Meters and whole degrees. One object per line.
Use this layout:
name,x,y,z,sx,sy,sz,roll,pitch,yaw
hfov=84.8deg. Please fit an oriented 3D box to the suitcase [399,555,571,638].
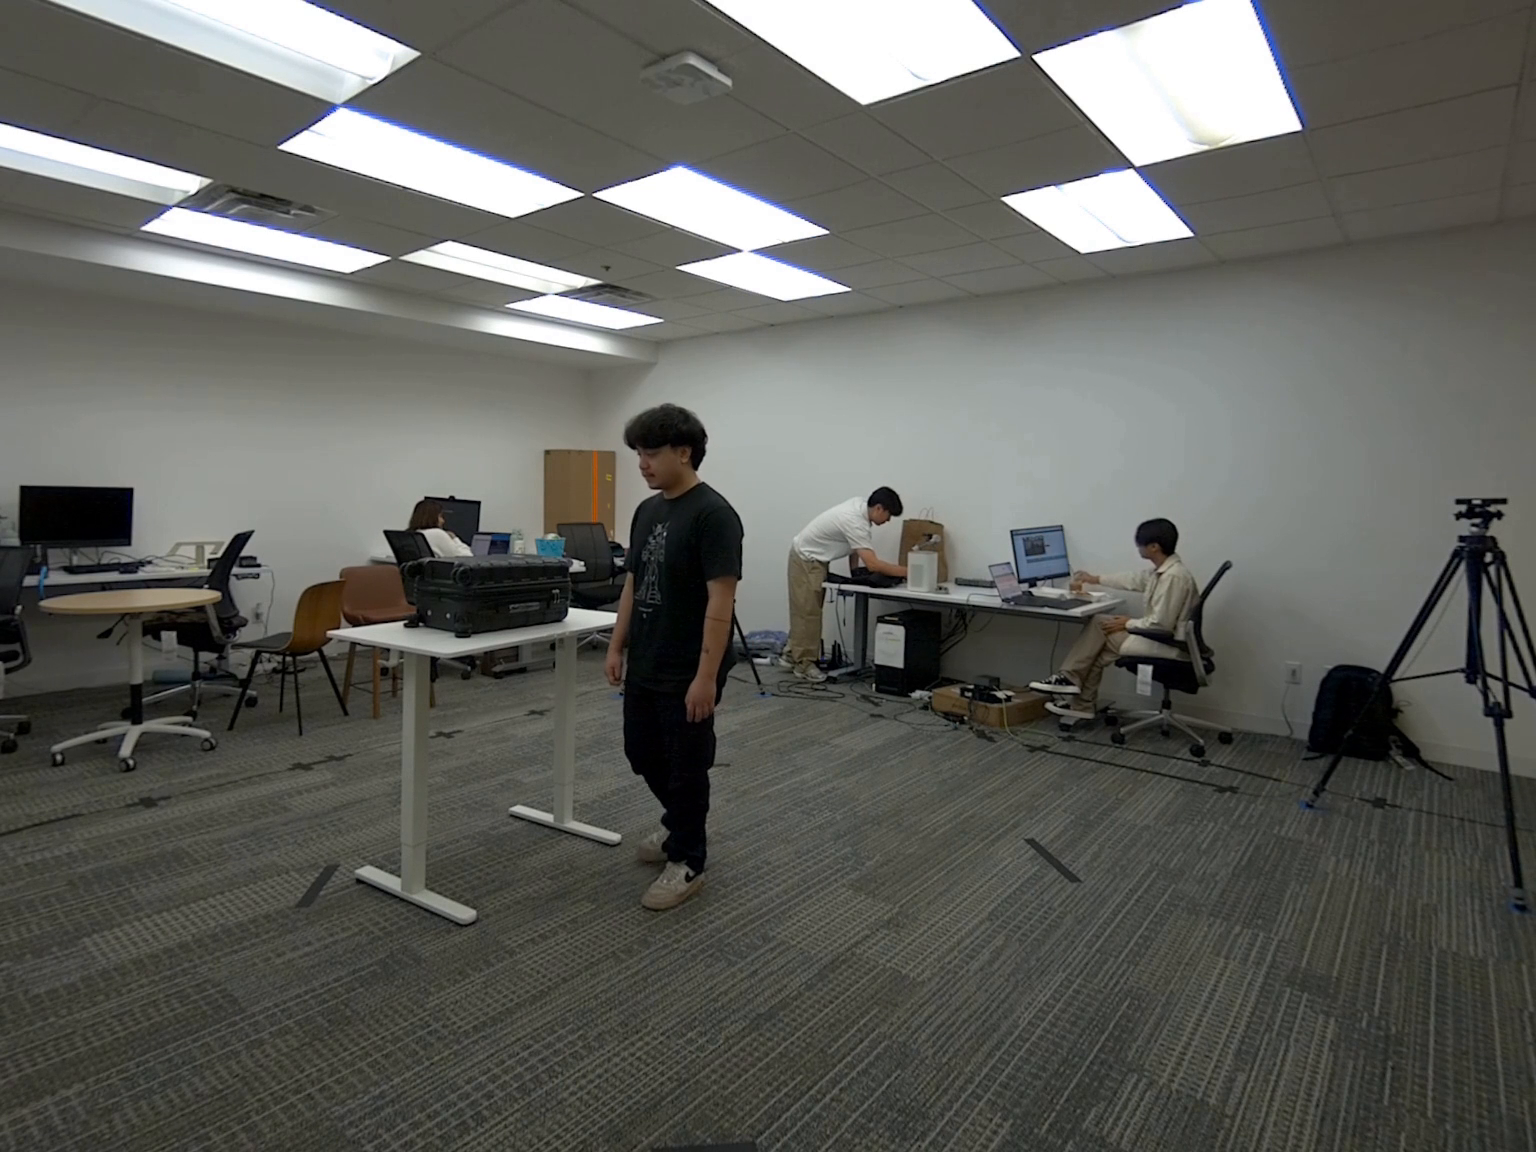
suitcase,-1.031,0.059,3.120,0.387,0.247,0.534,4,6,33
